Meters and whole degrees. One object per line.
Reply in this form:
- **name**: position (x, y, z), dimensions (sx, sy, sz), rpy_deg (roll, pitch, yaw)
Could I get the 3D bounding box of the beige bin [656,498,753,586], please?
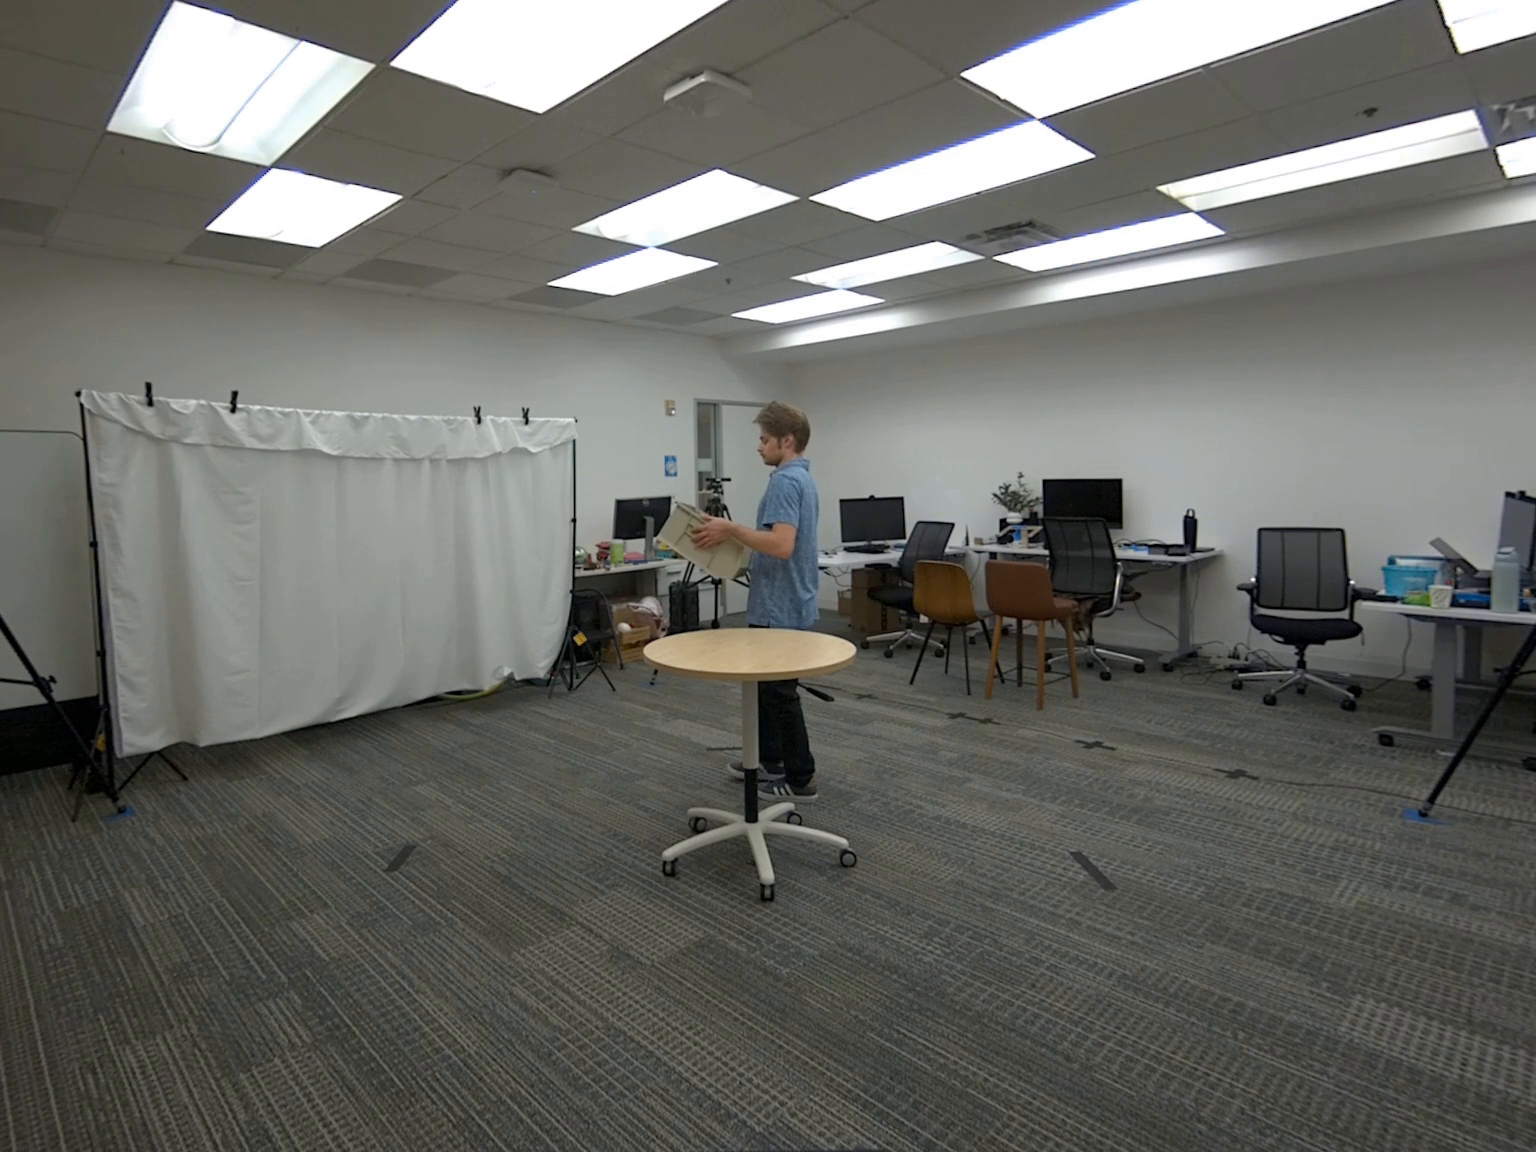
- **beige bin**: position (-0.242, -0.143, 3.749), dimensions (0.380, 0.189, 0.419), rpy_deg (32, 2, 5)
